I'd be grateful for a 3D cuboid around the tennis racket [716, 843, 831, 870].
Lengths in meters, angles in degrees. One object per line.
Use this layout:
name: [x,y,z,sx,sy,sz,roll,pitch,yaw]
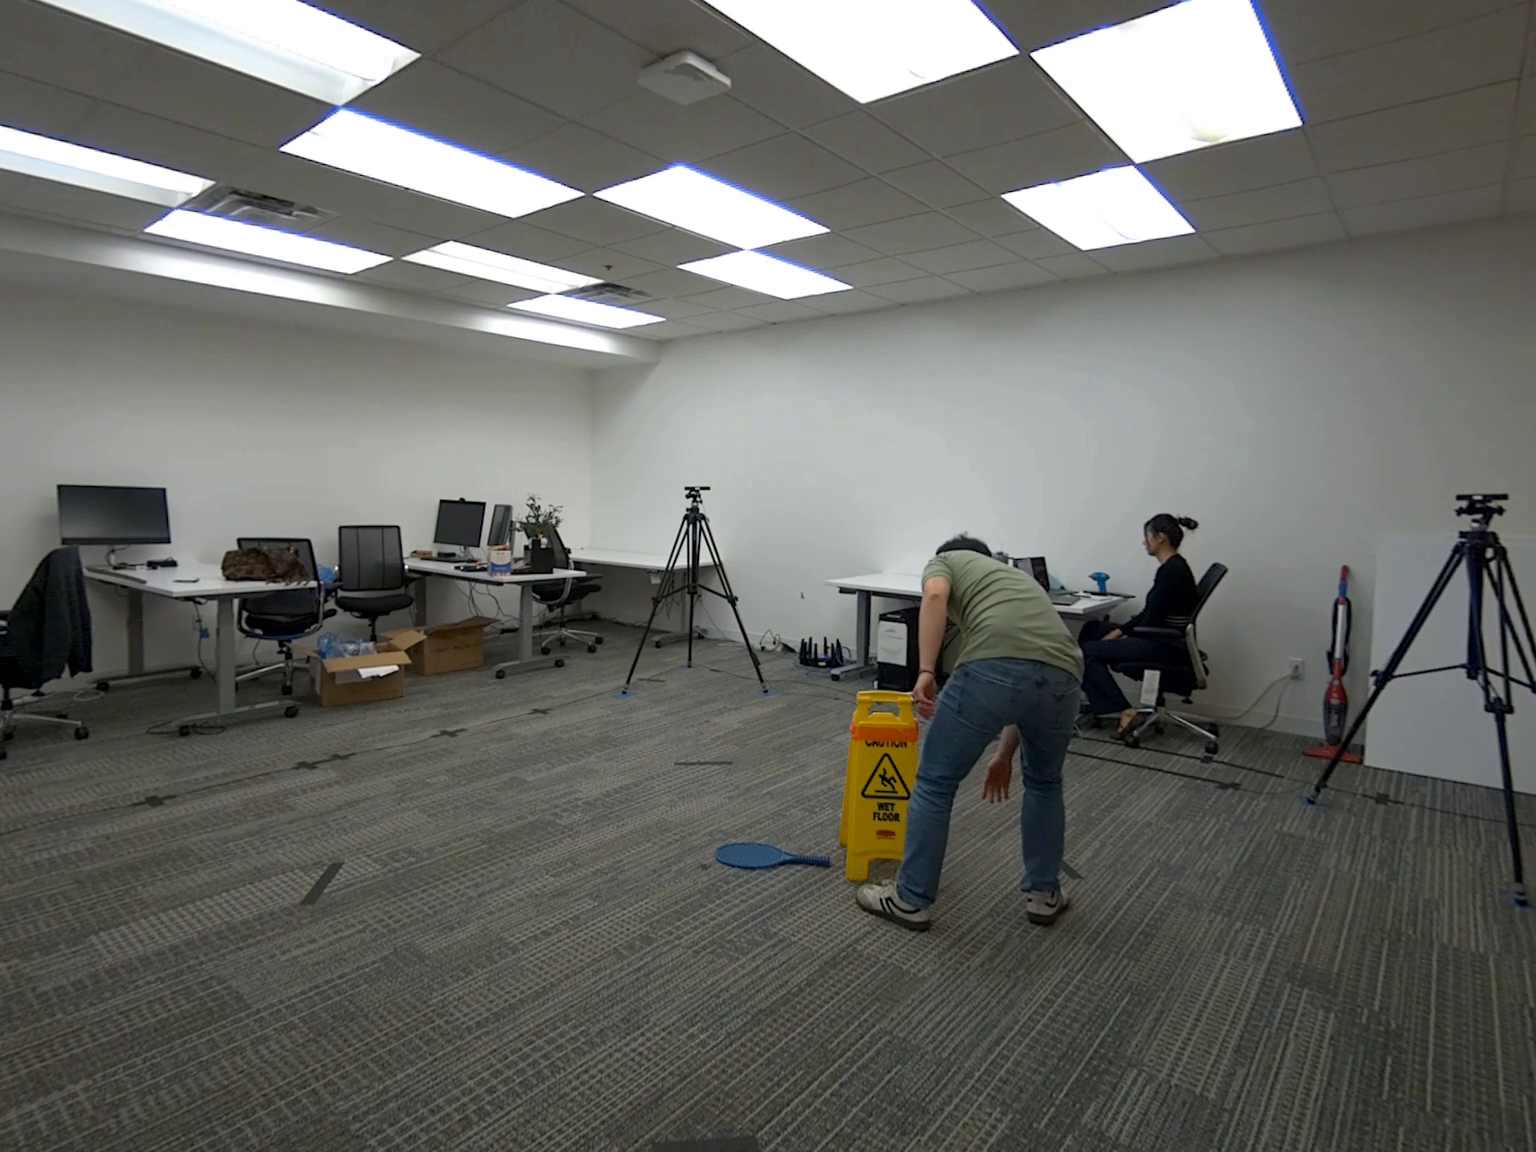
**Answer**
tennis racket: [0.004,1.044,3.180,0.438,0.031,0.212,0,6,12]
